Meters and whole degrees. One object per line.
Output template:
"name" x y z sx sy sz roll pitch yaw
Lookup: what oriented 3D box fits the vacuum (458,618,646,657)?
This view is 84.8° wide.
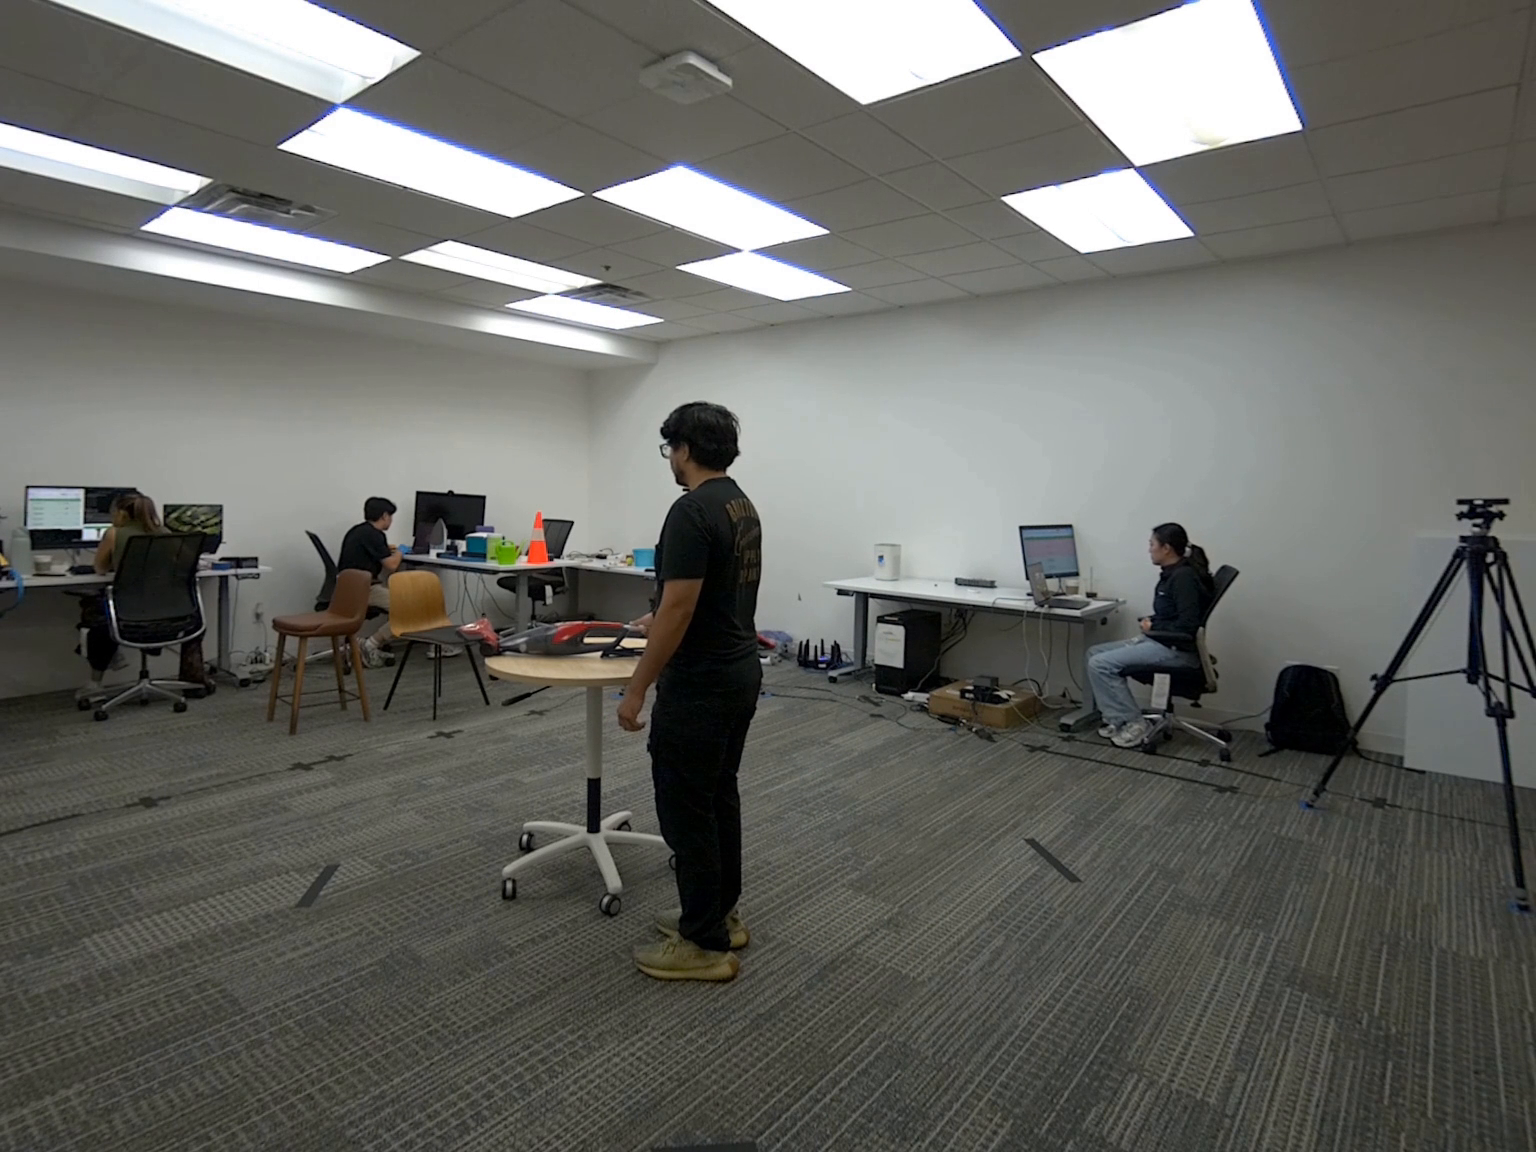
"vacuum" -0.523 0.234 3.011 1.056 0.144 0.251 0 2 6
